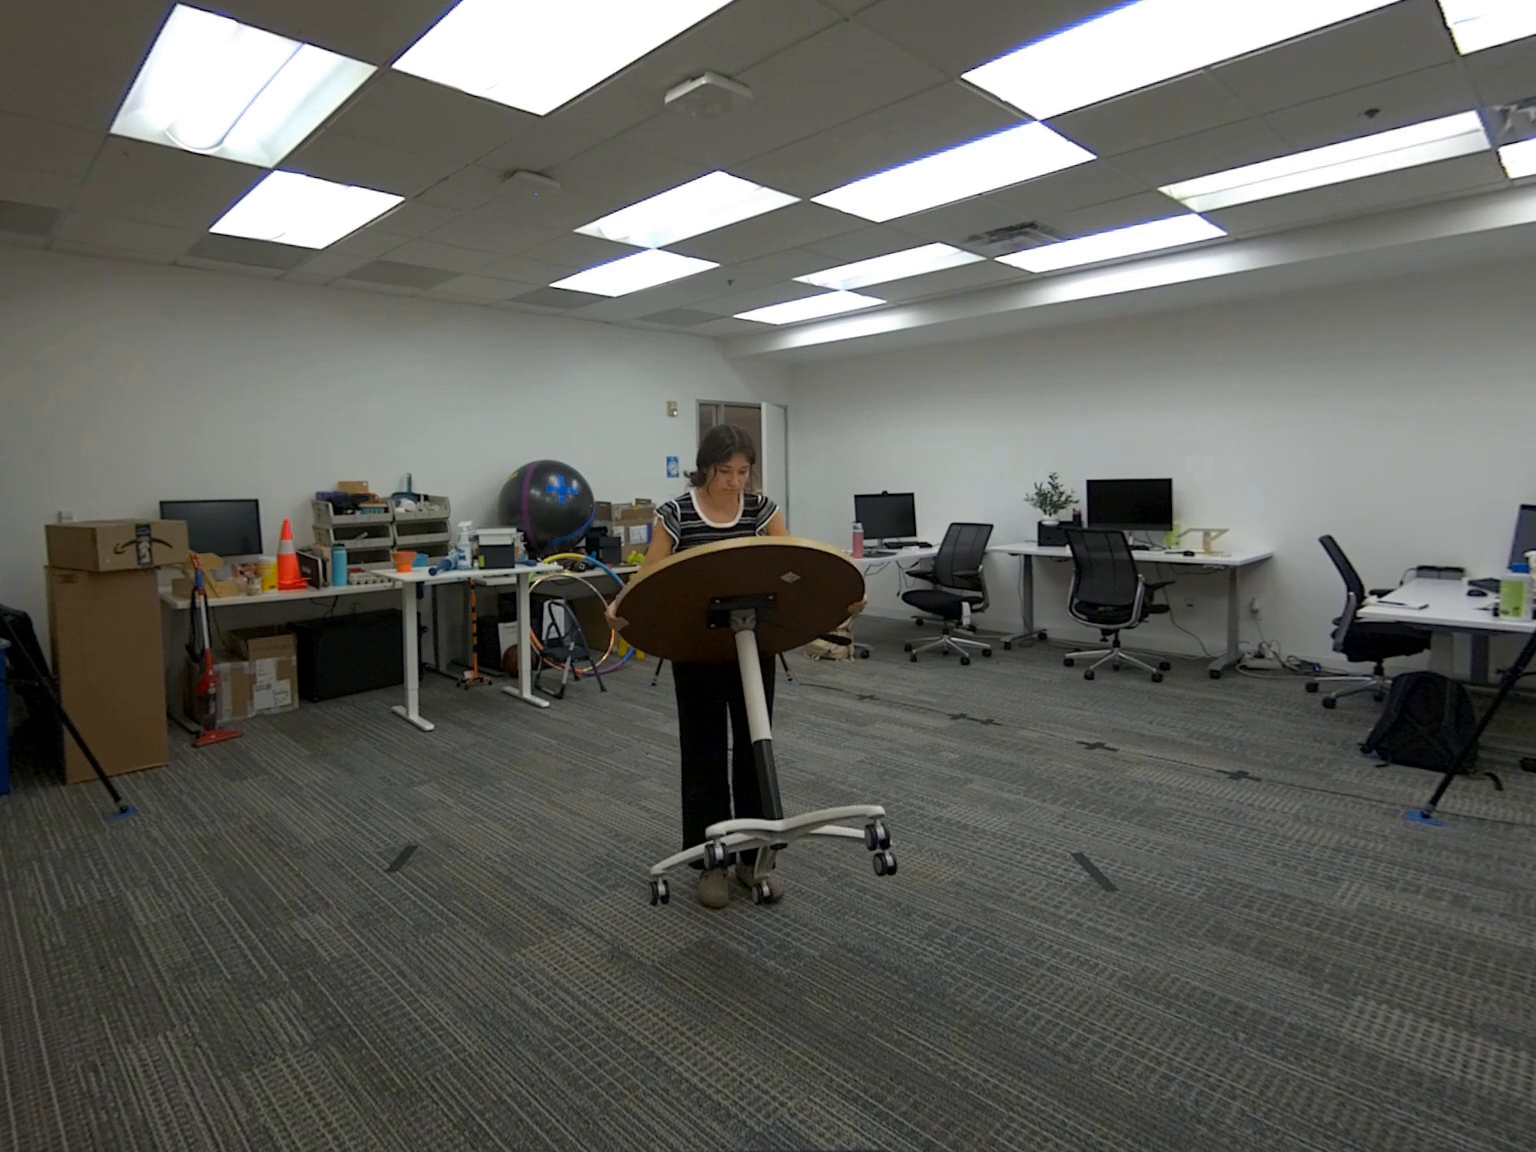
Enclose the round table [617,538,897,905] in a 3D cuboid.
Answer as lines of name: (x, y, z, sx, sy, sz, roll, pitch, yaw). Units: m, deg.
round table: (-0.022, 0.439, 2.395, 0.761, 0.816, 0.746, -7, -30, -6)
